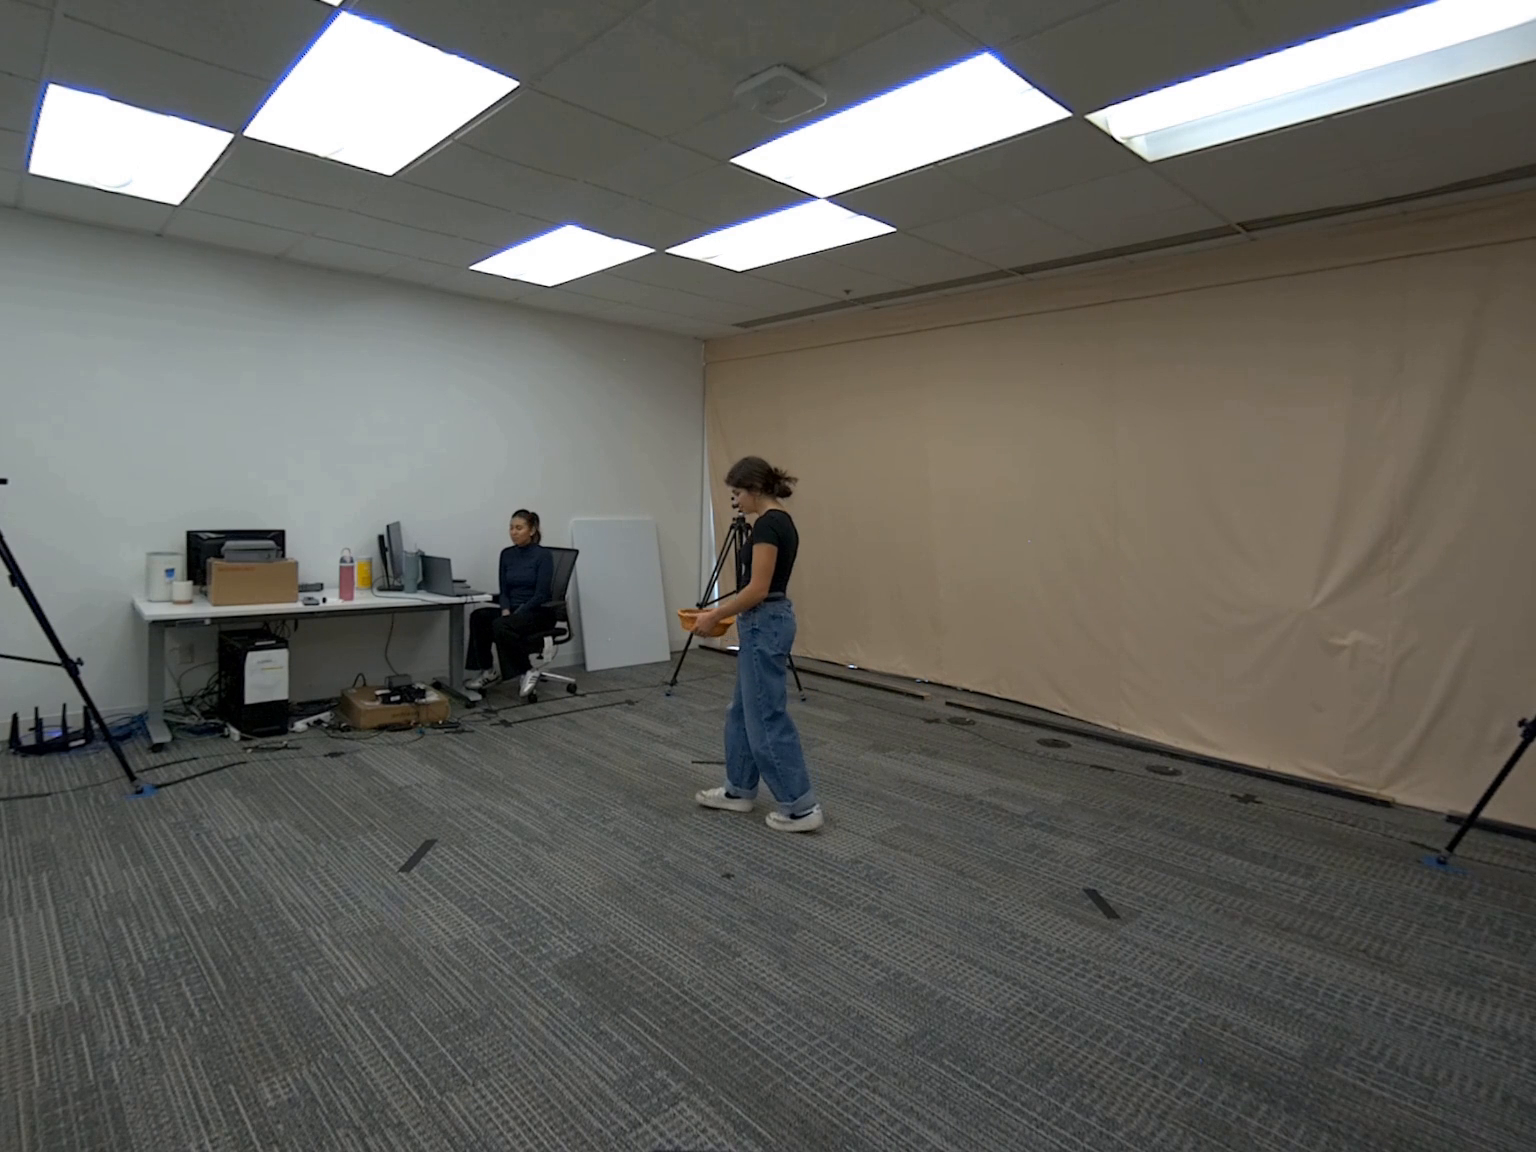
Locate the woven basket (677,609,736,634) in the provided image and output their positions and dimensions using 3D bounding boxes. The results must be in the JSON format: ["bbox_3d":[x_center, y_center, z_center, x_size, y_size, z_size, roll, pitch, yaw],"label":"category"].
[{"bbox_3d":[-0.263,0.206,3.718,0.256,0.073,0.345,10,4,17],"label":"woven basket"}]
